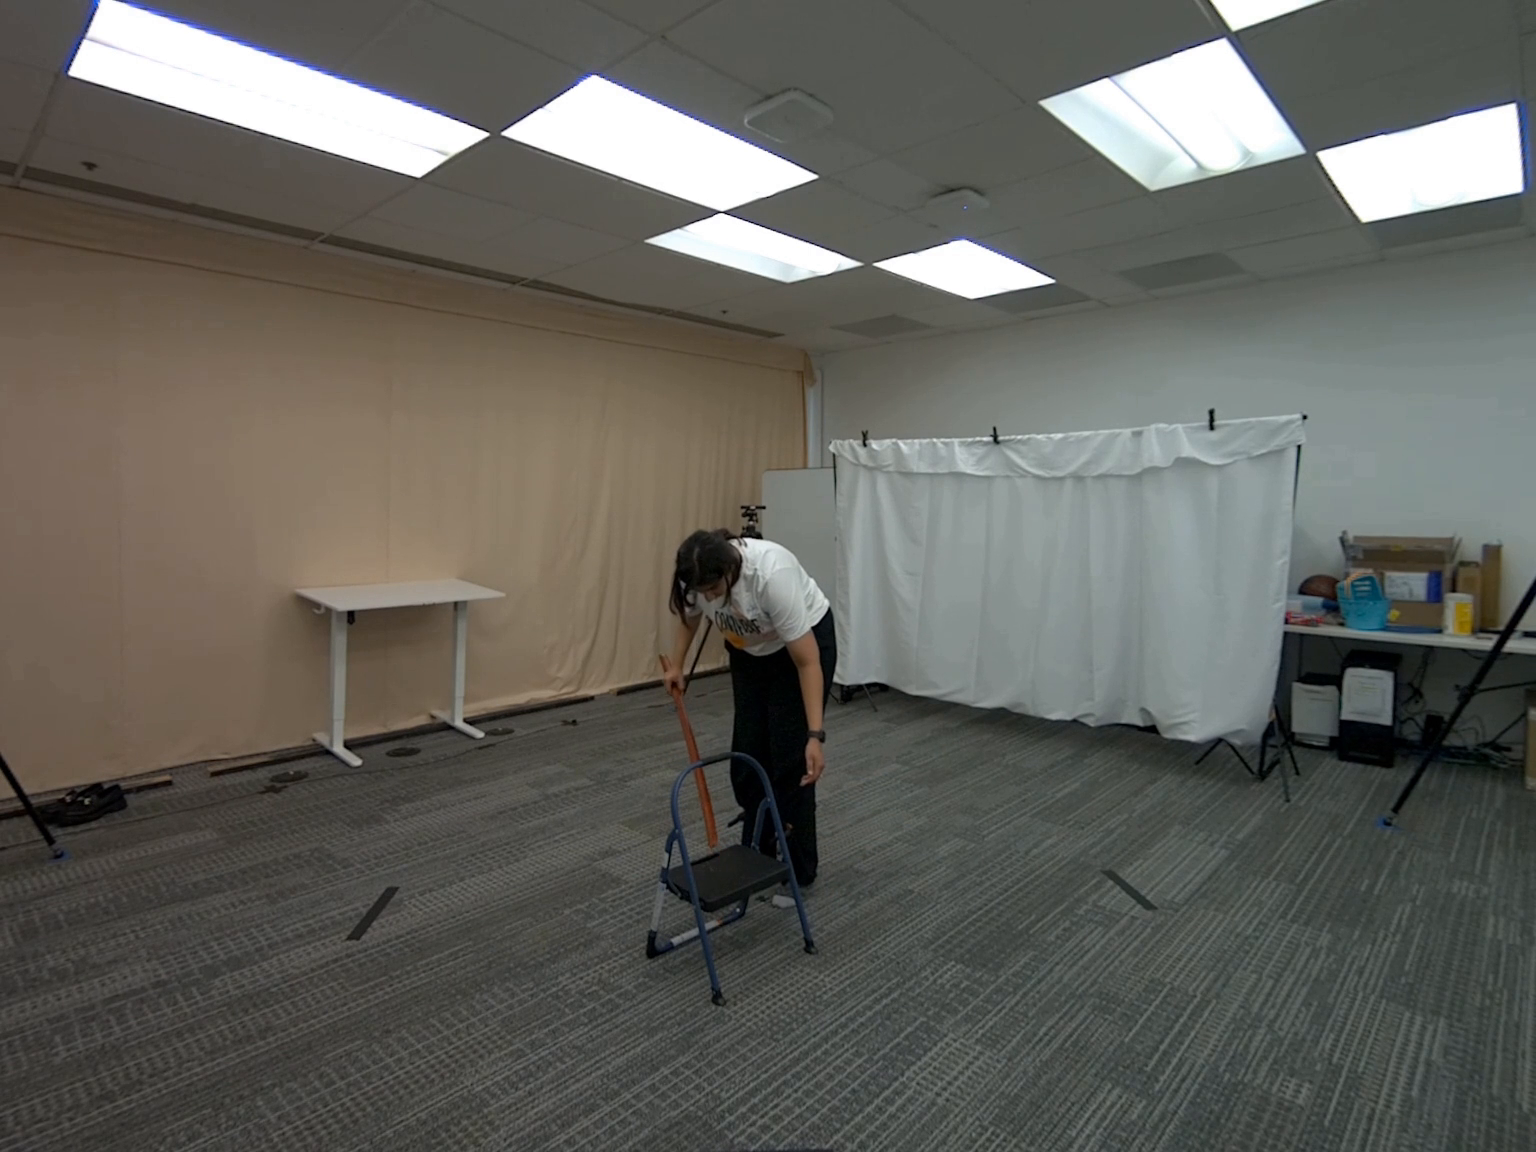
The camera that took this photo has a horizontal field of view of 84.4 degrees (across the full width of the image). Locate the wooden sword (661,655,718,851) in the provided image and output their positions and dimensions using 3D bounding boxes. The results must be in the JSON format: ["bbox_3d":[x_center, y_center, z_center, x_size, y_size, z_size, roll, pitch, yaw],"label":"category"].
[{"bbox_3d":[-0.276,0.585,2.958,0.051,0.024,1.049,-1,27,-11],"label":"wooden sword"}]
